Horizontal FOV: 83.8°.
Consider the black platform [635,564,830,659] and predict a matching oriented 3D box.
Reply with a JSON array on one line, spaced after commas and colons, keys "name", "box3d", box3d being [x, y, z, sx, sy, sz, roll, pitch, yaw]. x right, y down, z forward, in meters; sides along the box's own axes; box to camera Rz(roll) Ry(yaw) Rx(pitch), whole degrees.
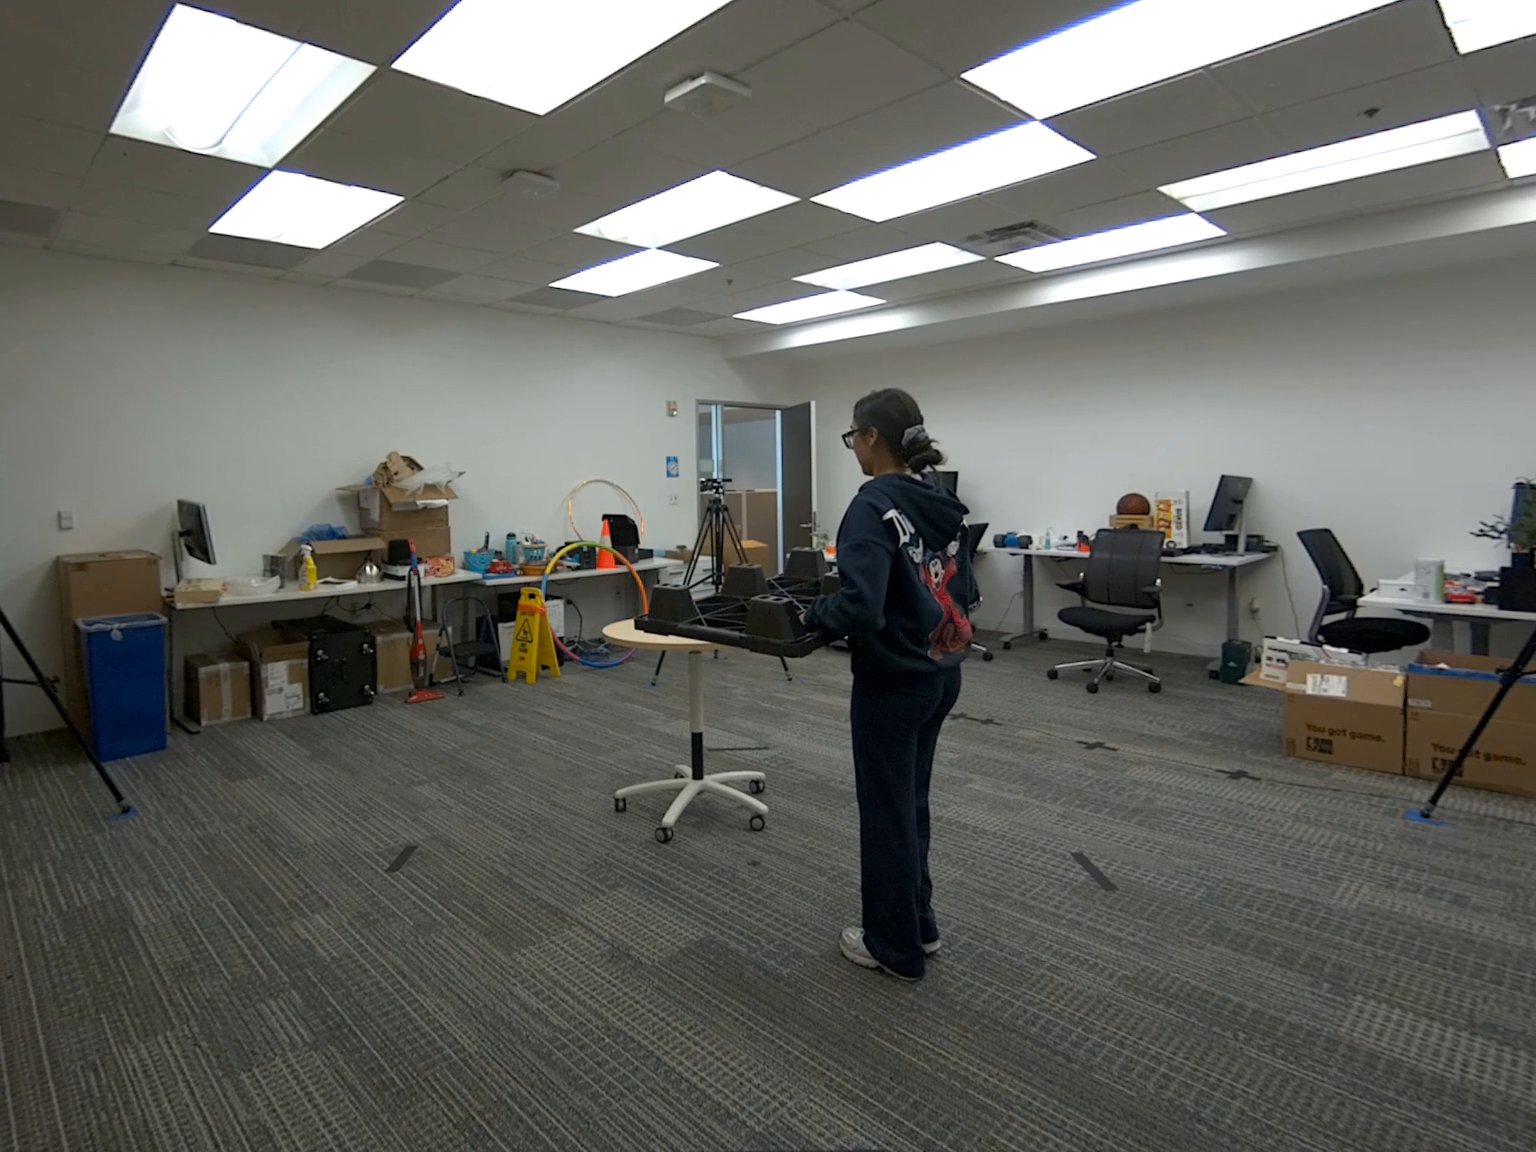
[{"name": "black platform", "box3d": [0.072, 0.051, 2.621, 0.624, 0.142, 0.788, 5, 14, 39]}]
